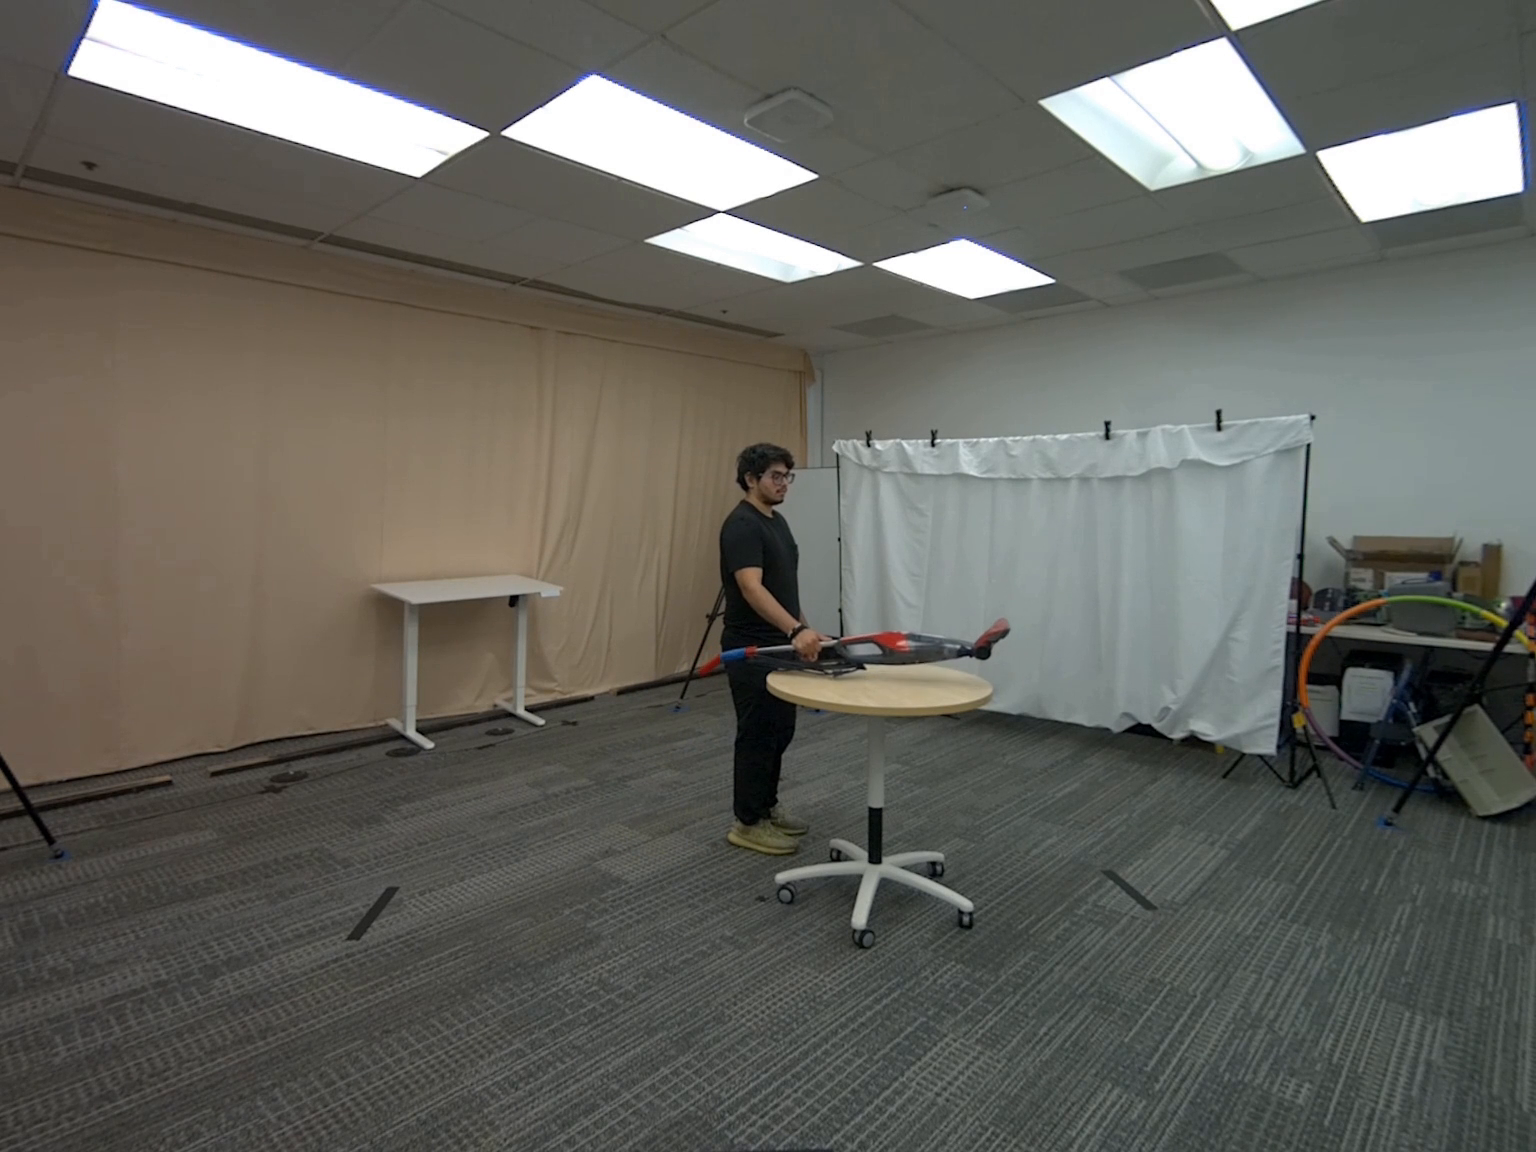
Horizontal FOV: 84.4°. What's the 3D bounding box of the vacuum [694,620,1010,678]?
[{"bbox_3d":[0.269,0.283,2.975,1.067,0.144,0.249,-8,2,17],"label":"vacuum"}]
